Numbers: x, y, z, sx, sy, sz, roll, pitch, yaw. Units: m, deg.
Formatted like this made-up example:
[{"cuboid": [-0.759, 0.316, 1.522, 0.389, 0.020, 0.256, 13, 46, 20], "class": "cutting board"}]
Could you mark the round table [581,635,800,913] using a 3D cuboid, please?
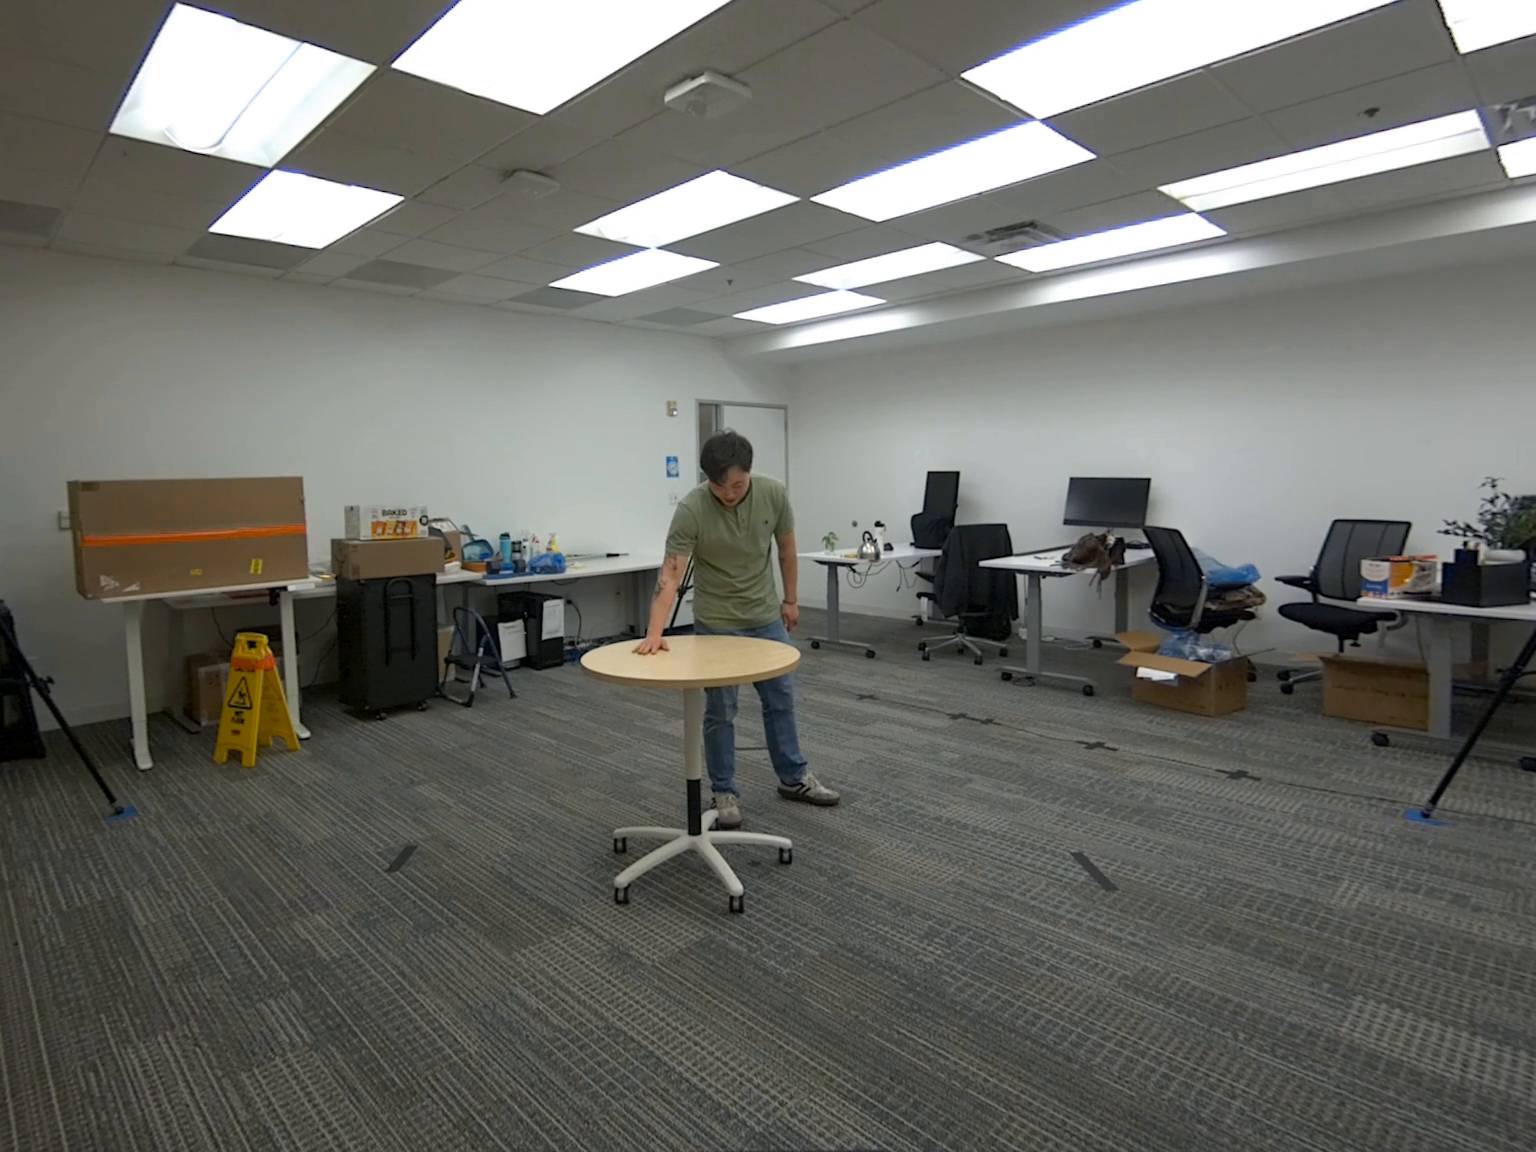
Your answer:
[{"cuboid": [-0.265, 0.670, 3.020, 0.763, 0.791, 0.768, -1, 5, -2], "class": "round table"}]
